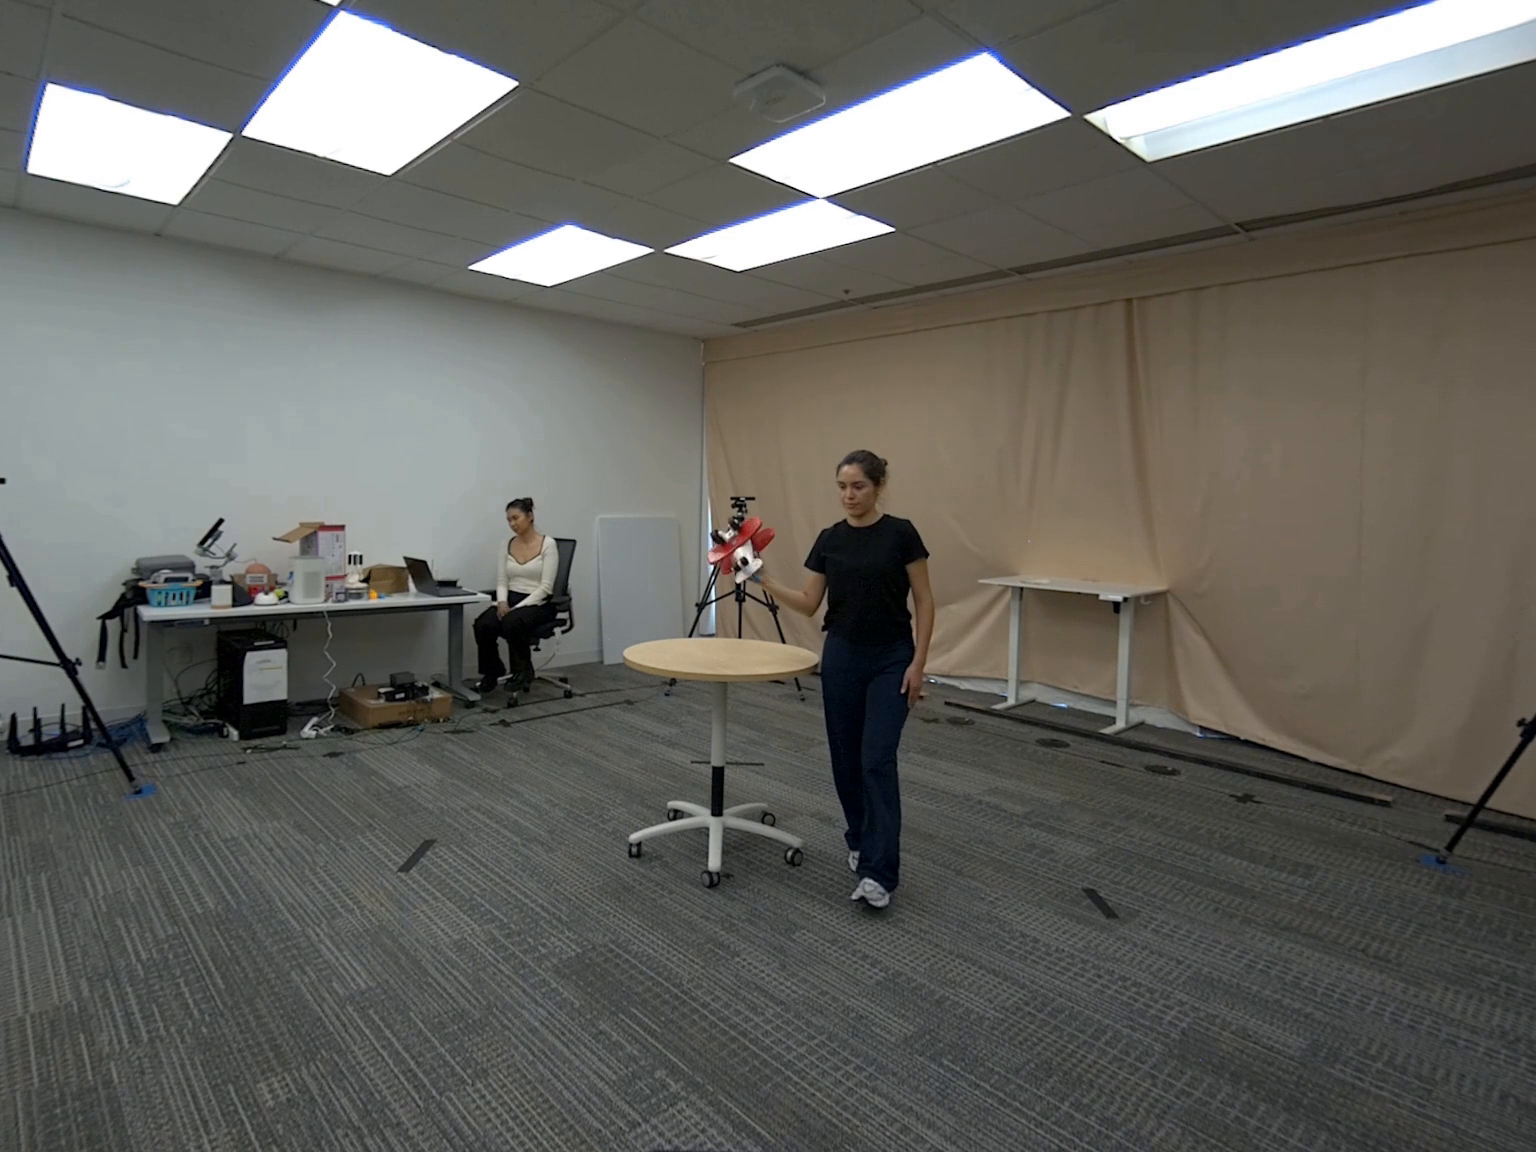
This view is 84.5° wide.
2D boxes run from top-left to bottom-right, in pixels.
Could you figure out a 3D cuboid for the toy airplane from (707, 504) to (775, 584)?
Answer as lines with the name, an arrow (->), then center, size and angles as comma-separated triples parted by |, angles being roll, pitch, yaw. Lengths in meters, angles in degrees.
toy airplane -> -0.104, -0.082, 3.075 | 0.255, 0.263, 0.151 | -12, -27, 31
